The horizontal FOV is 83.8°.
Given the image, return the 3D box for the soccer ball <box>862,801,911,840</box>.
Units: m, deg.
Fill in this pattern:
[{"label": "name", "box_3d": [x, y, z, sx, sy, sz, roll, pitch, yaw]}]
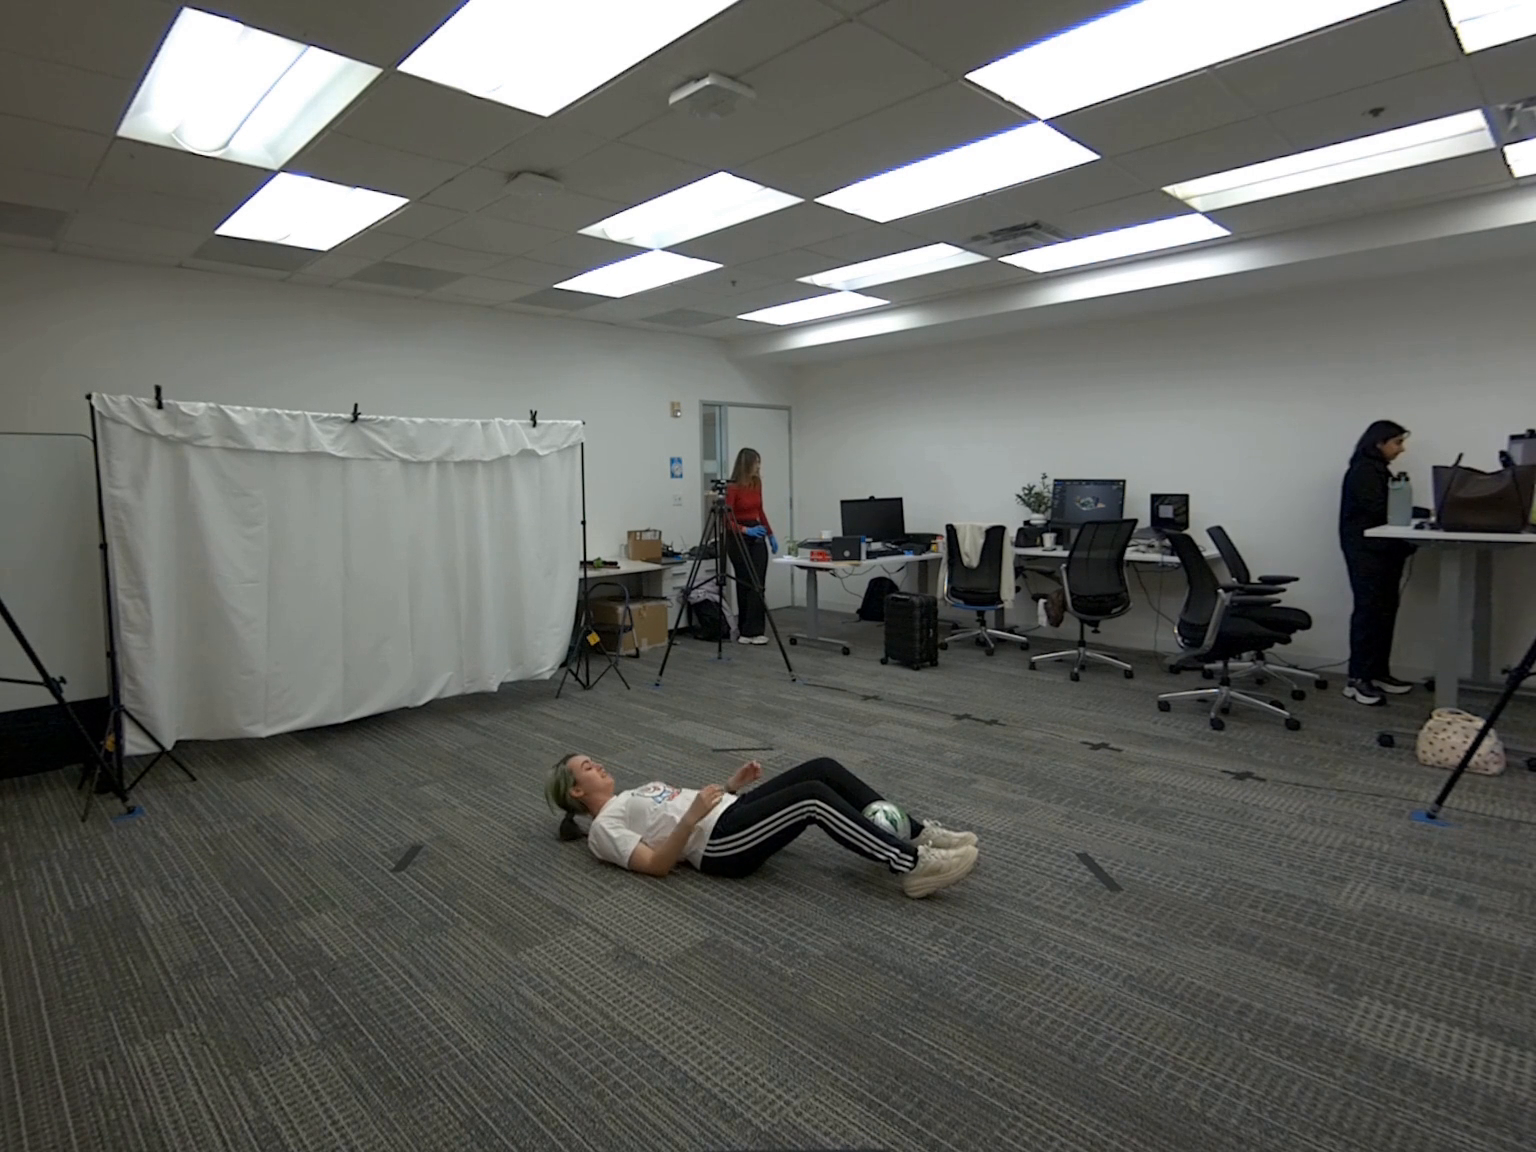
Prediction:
[{"label": "soccer ball", "box_3d": [0.398, 0.888, 3.009, 0.187, 0.187, 0.188, -1, 5, -2]}]
